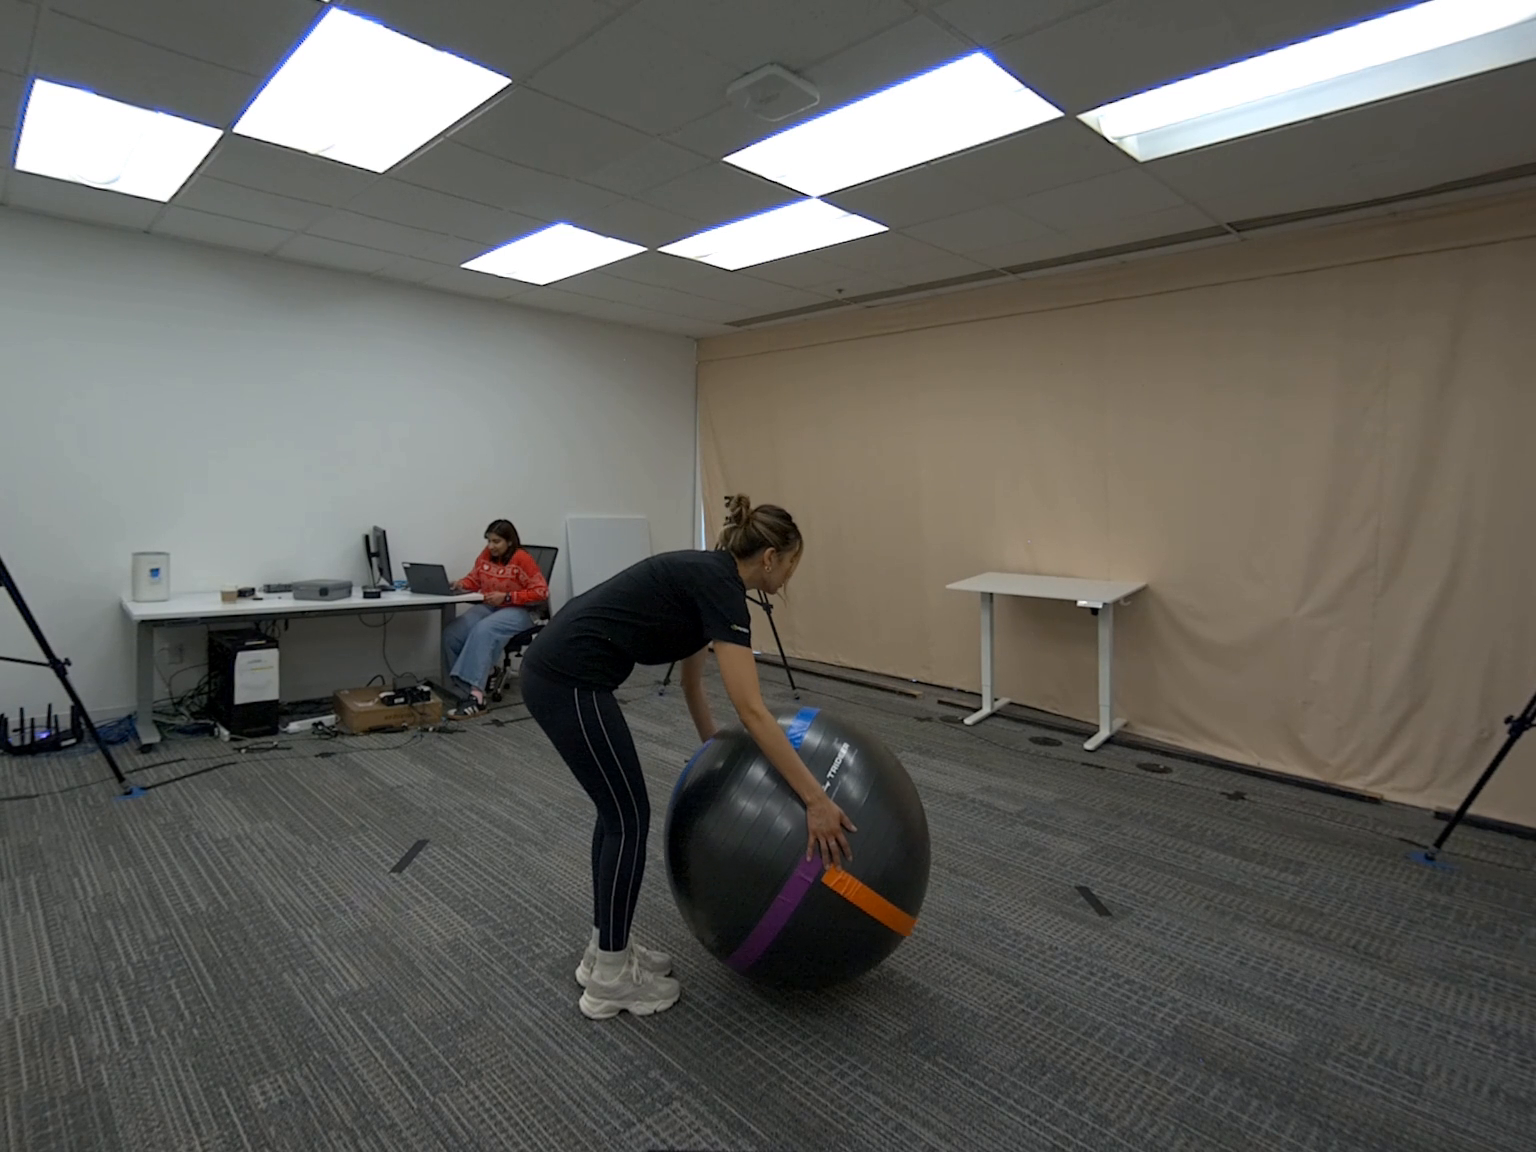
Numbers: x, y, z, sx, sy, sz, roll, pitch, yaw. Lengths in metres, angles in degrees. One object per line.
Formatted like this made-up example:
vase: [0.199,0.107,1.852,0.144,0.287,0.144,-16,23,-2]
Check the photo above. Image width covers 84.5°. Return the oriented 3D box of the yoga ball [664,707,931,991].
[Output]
yoga ball: [0.080,0.761,2.407,0.757,0.756,0.761,1,4,-1]
